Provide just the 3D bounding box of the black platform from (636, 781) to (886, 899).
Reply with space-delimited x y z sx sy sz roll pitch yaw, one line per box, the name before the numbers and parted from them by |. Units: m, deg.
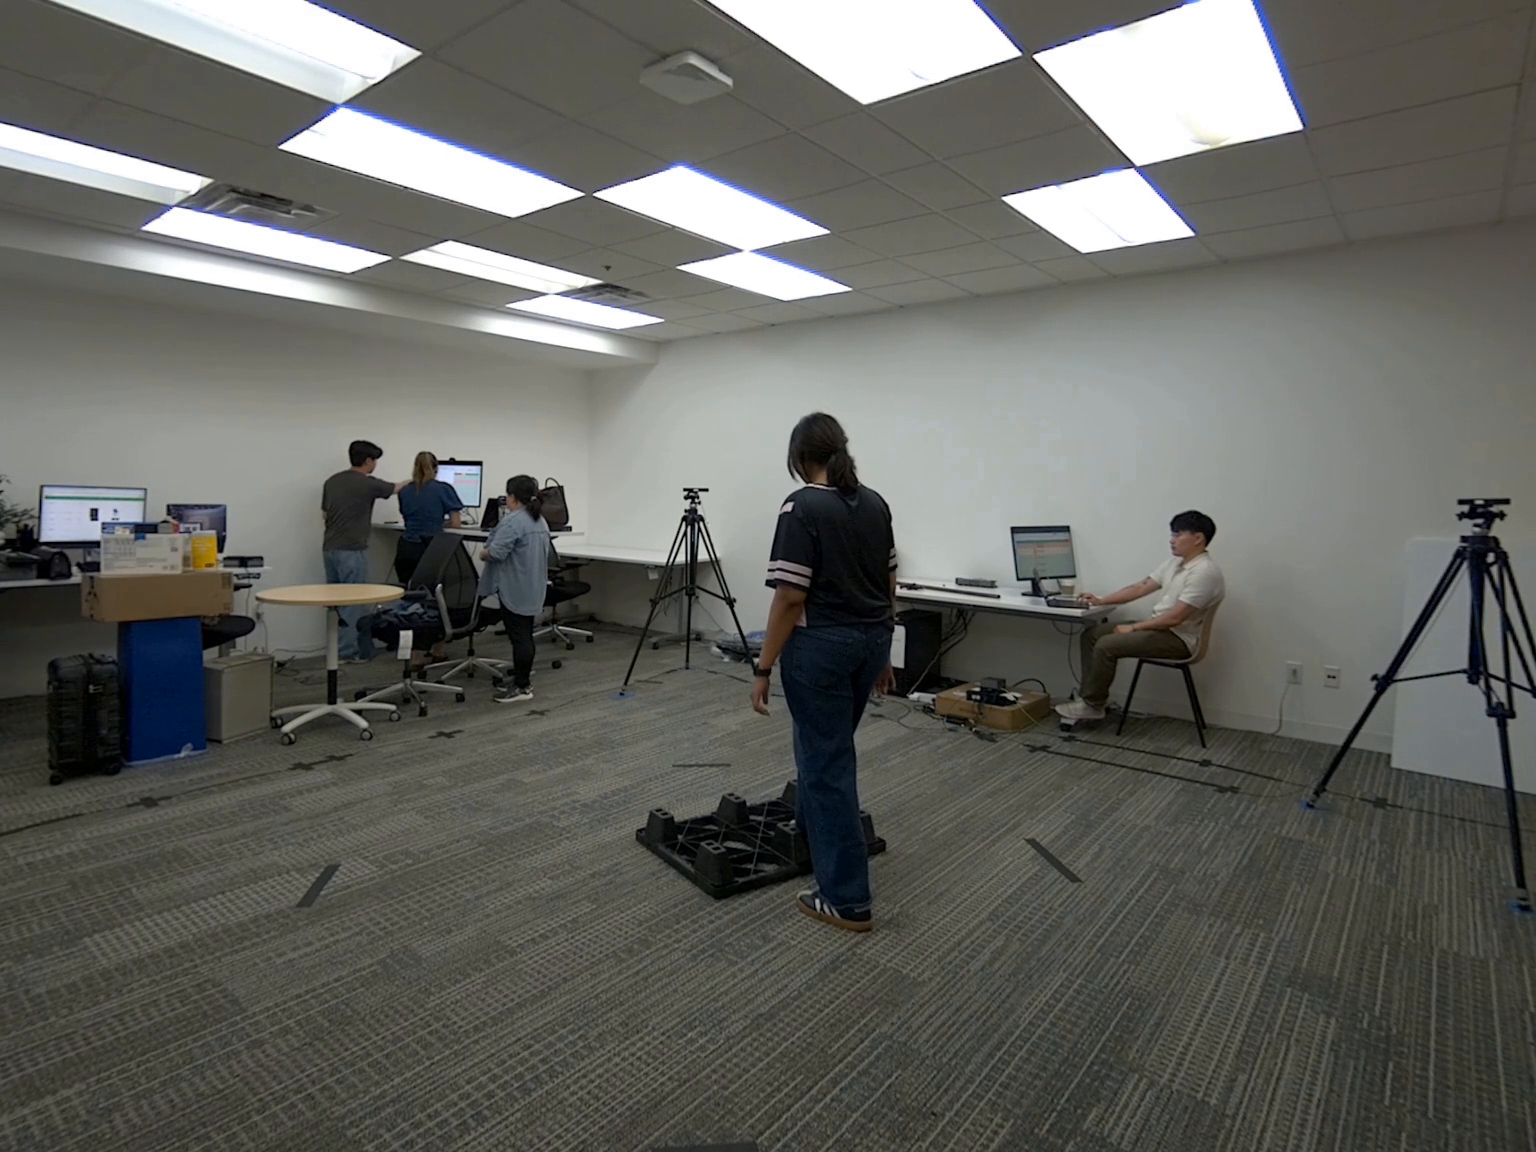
black platform | -0.043 0.985 3.325 0.782 0.143 0.625 -3 6 -35
